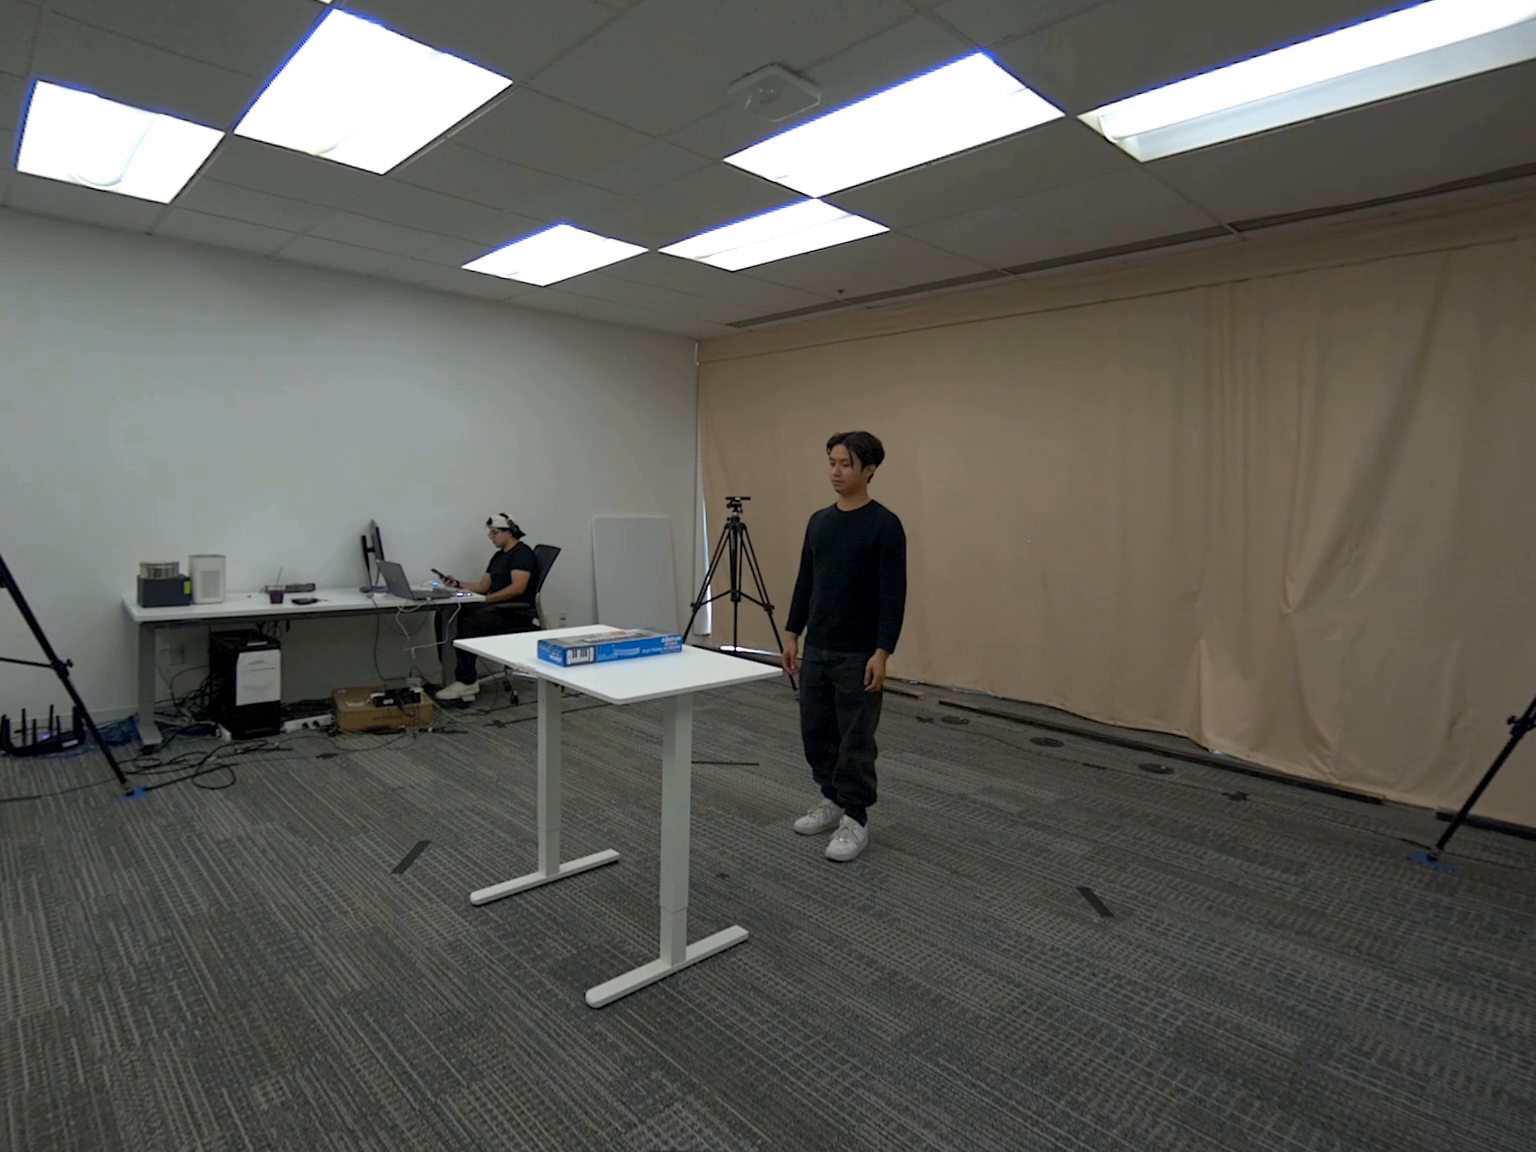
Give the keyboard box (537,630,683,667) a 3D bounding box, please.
[{"bbox_3d":[-0.508,0.226,2.683,0.427,0.059,0.180,-4,7,-41],"label":"keyboard box"}]
